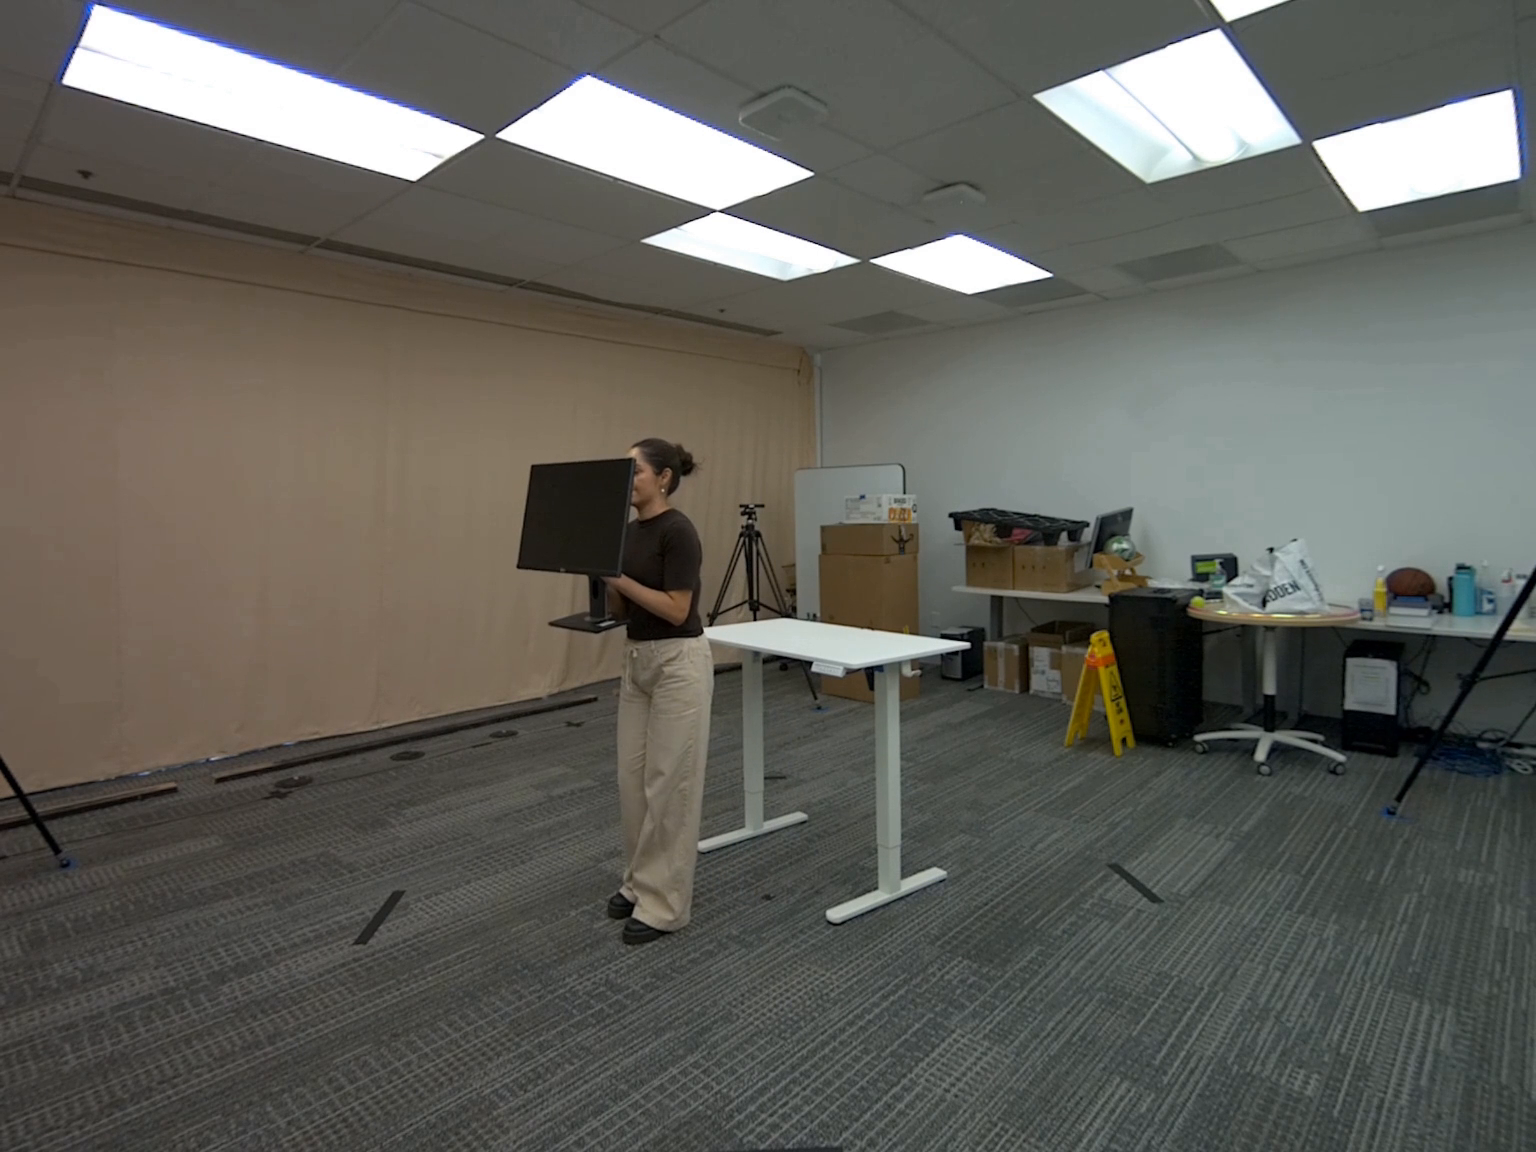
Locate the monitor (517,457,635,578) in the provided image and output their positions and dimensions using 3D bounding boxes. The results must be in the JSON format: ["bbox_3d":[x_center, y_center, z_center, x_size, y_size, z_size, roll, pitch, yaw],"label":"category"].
[{"bbox_3d":[-0.579,-0.096,2.658,0.557,0.520,0.182,3,8,41],"label":"monitor"}]
